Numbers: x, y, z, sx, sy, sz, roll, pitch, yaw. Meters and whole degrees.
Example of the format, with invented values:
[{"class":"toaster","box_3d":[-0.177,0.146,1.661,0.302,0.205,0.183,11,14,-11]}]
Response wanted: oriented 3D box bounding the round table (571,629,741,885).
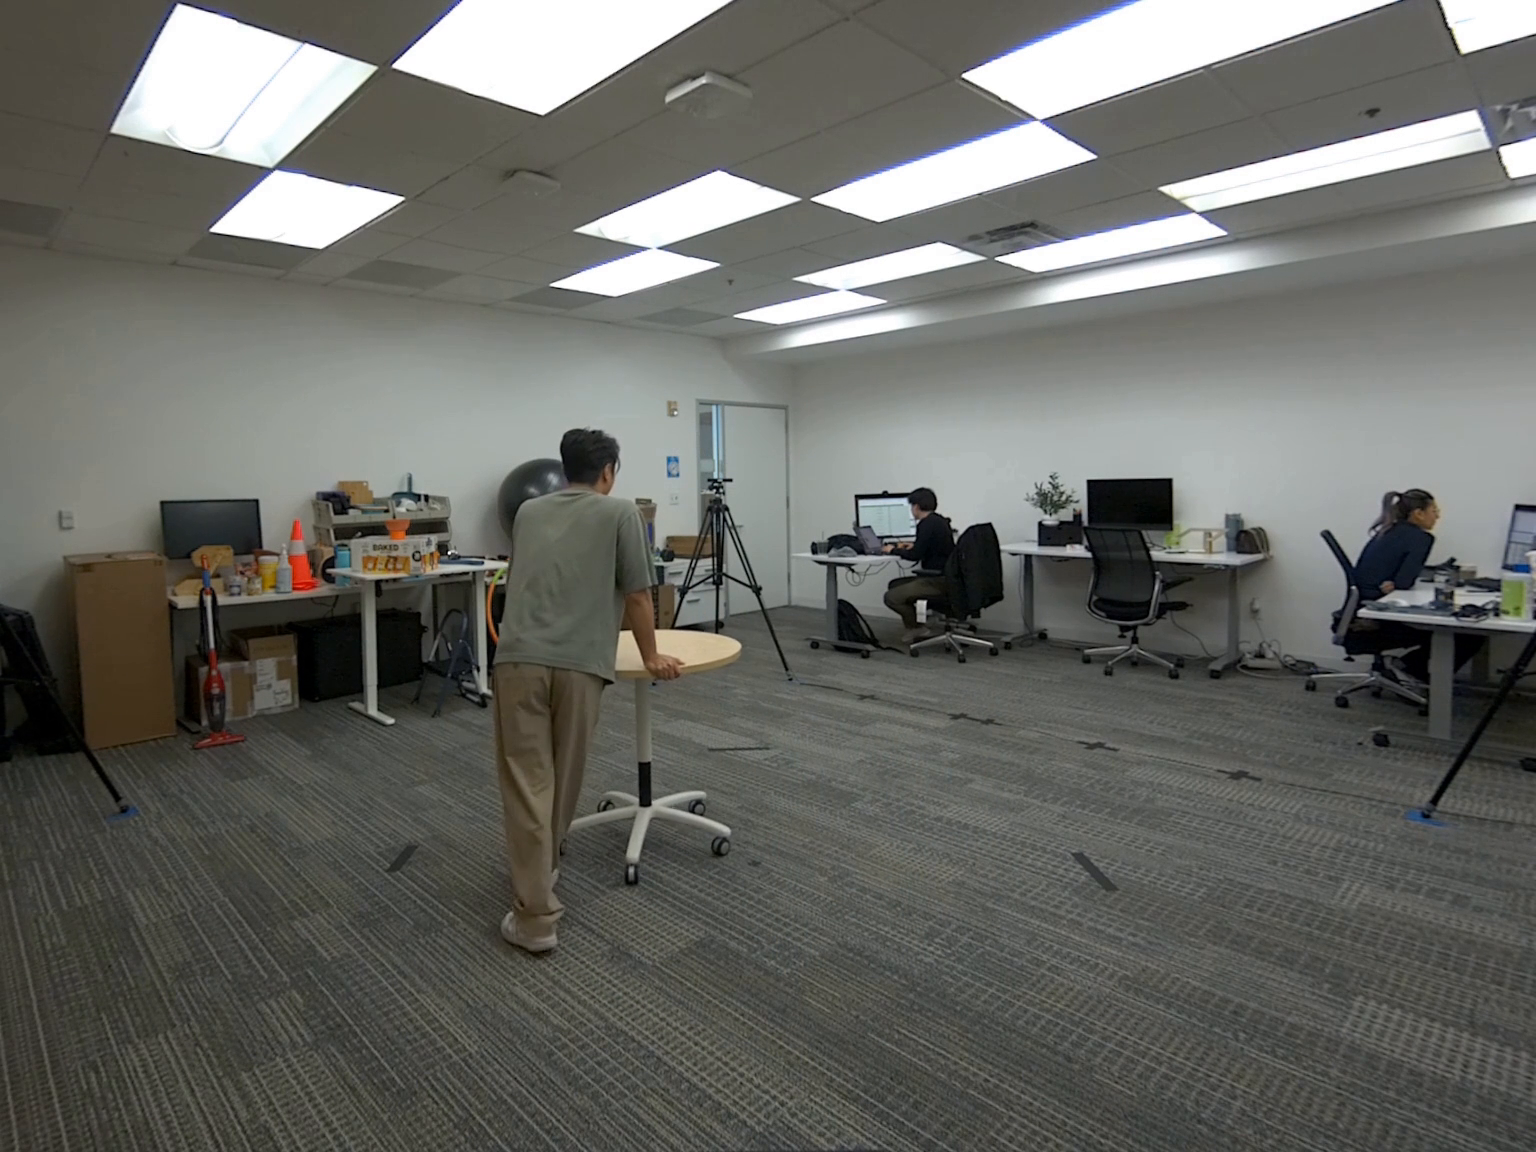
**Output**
[{"class":"round table","box_3d":[-0.464,0.653,3.285,0.784,0.783,0.789,-2,5,-2]}]
